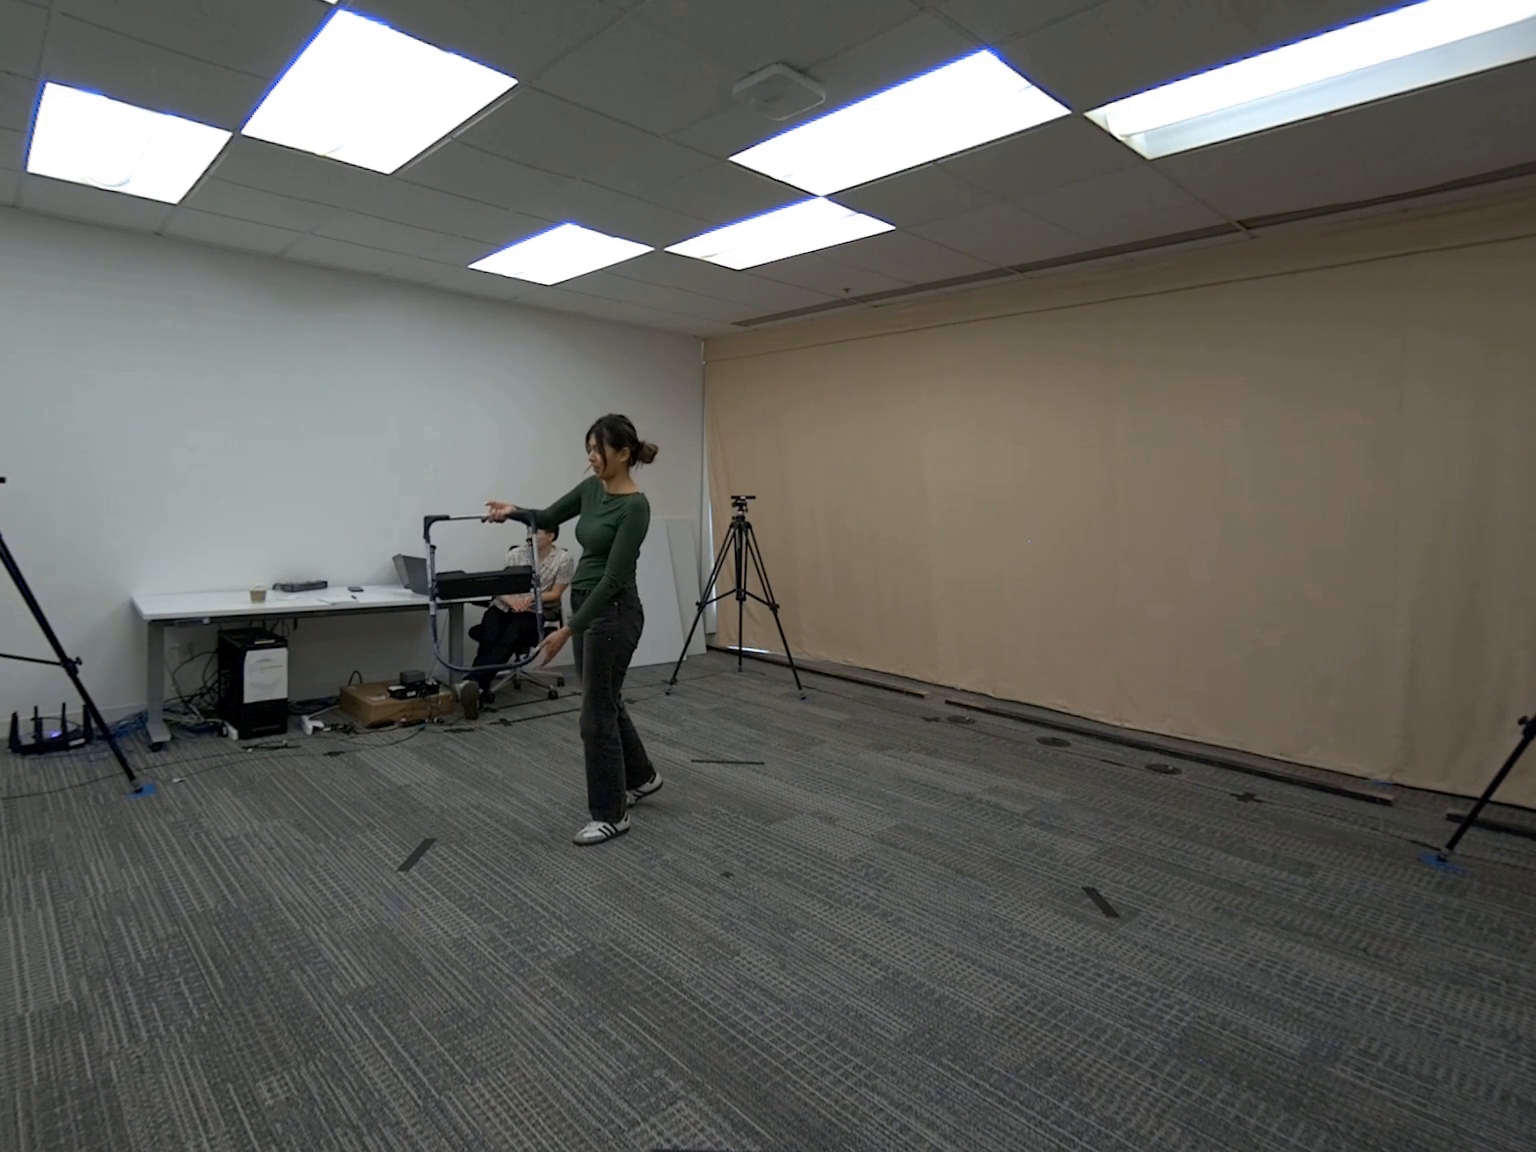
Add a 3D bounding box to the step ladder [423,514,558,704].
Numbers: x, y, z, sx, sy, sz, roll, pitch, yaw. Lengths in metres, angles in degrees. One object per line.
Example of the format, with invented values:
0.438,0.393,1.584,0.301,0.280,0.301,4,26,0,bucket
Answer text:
-1.092,0.096,3.276,0.425,0.616,0.347,-5,-21,-18,step ladder
